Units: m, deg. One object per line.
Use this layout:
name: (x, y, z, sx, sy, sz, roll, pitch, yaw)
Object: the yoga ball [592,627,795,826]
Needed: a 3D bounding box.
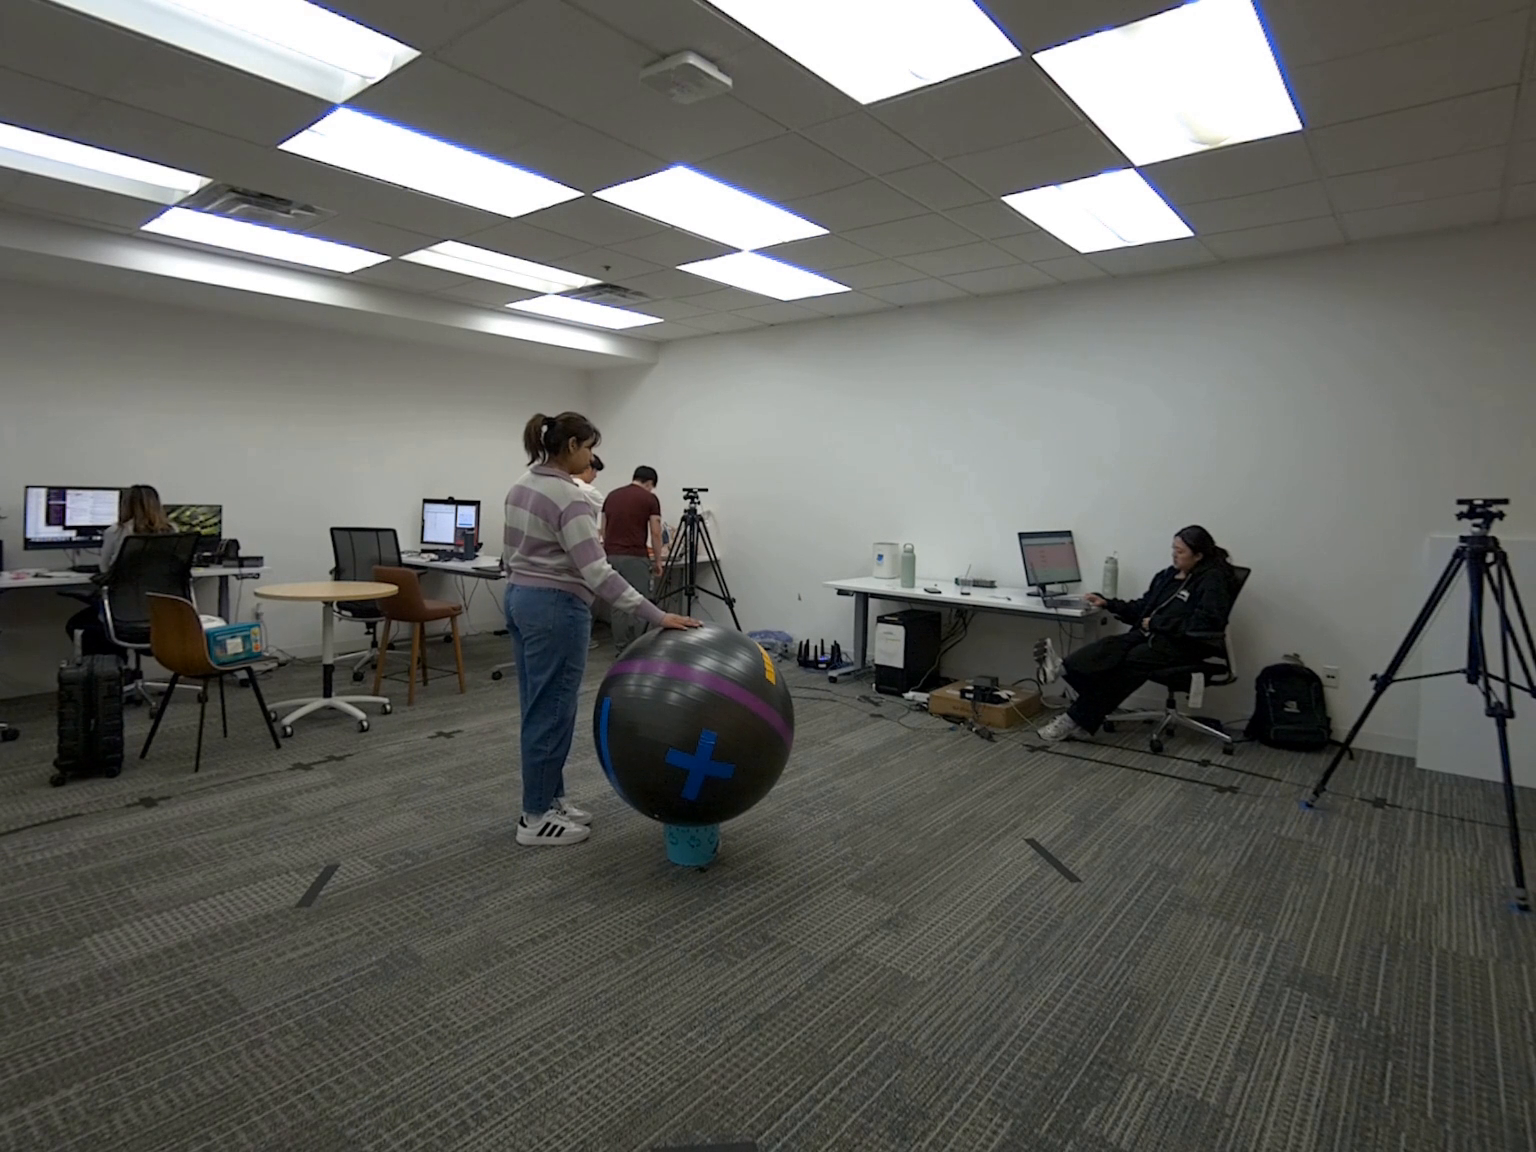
yoga ball: (-0.288, 0.549, 3.205, 0.757, 0.756, 0.762, 1, 4, -2)
